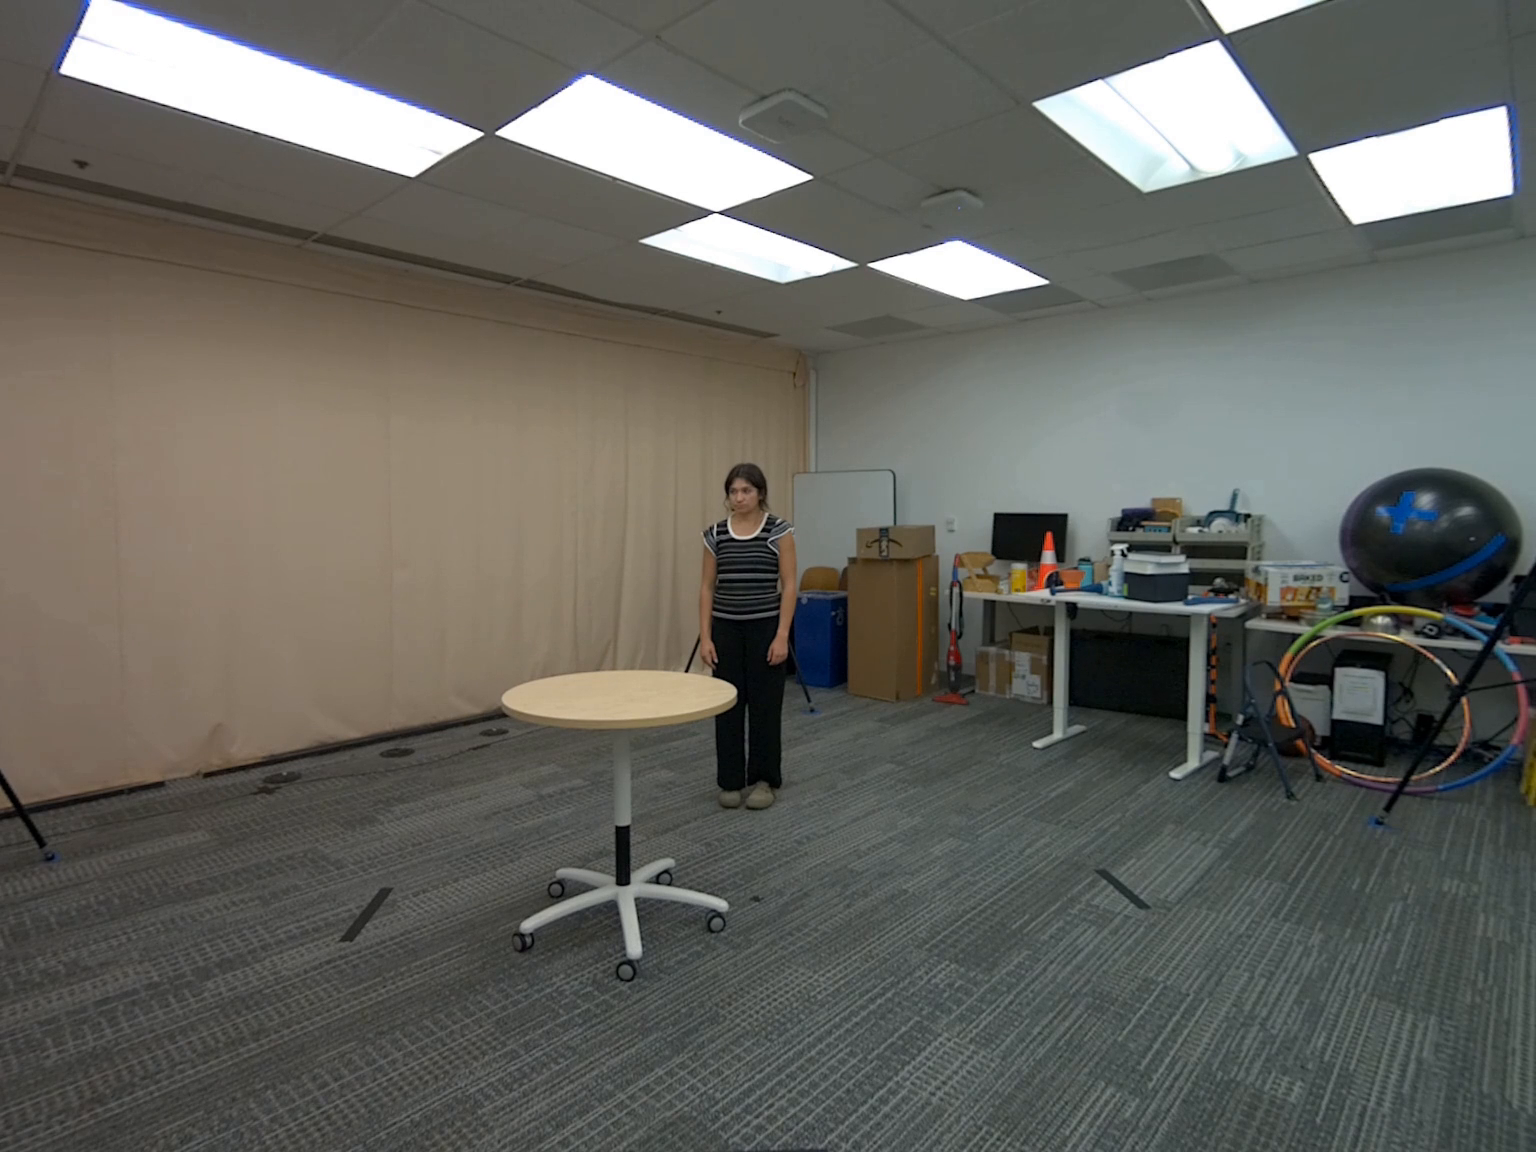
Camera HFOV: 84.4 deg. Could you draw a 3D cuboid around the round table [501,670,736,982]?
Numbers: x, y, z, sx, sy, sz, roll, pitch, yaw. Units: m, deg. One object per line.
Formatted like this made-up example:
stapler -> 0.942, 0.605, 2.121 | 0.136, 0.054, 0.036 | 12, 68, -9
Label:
round table -> -0.485, 0.777, 2.785 | 0.763, 0.792, 0.766 | -1, 3, -2
